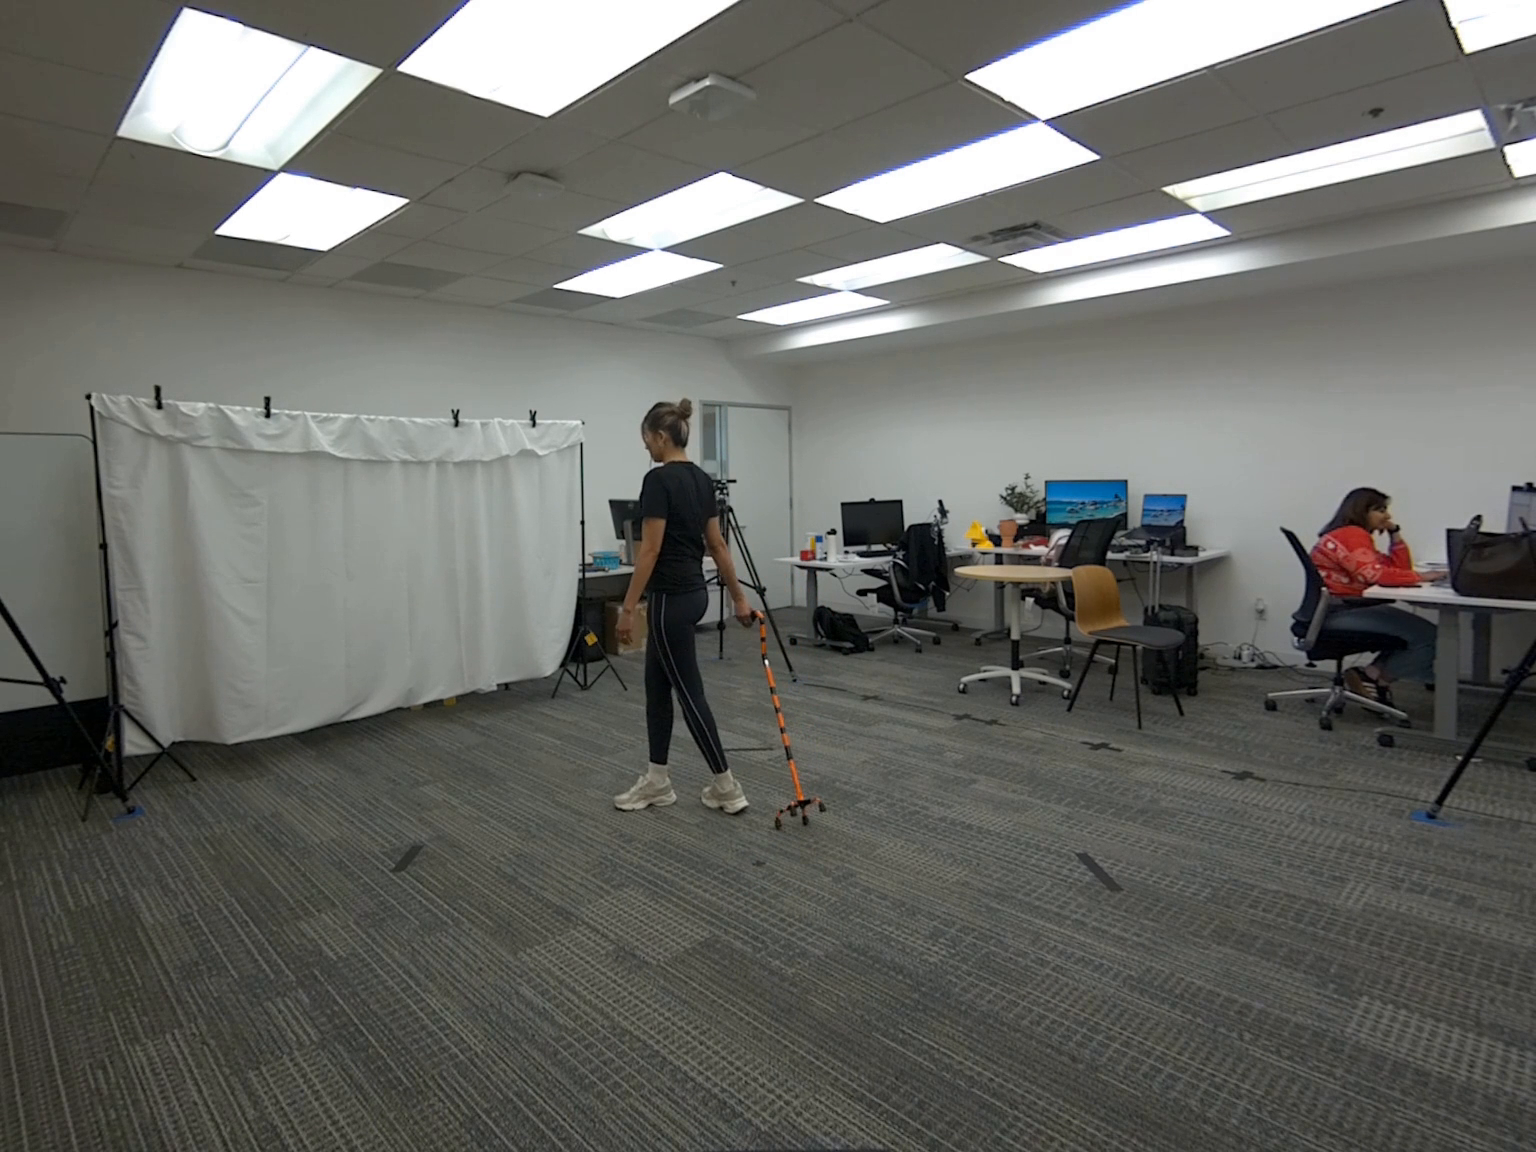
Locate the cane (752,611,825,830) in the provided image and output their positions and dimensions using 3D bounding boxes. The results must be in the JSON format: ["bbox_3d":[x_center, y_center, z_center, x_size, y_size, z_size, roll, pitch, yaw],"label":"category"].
[{"bbox_3d":[0.032,0.564,3.582,0.149,0.934,0.204,-1,-31,-22],"label":"cane"}]
